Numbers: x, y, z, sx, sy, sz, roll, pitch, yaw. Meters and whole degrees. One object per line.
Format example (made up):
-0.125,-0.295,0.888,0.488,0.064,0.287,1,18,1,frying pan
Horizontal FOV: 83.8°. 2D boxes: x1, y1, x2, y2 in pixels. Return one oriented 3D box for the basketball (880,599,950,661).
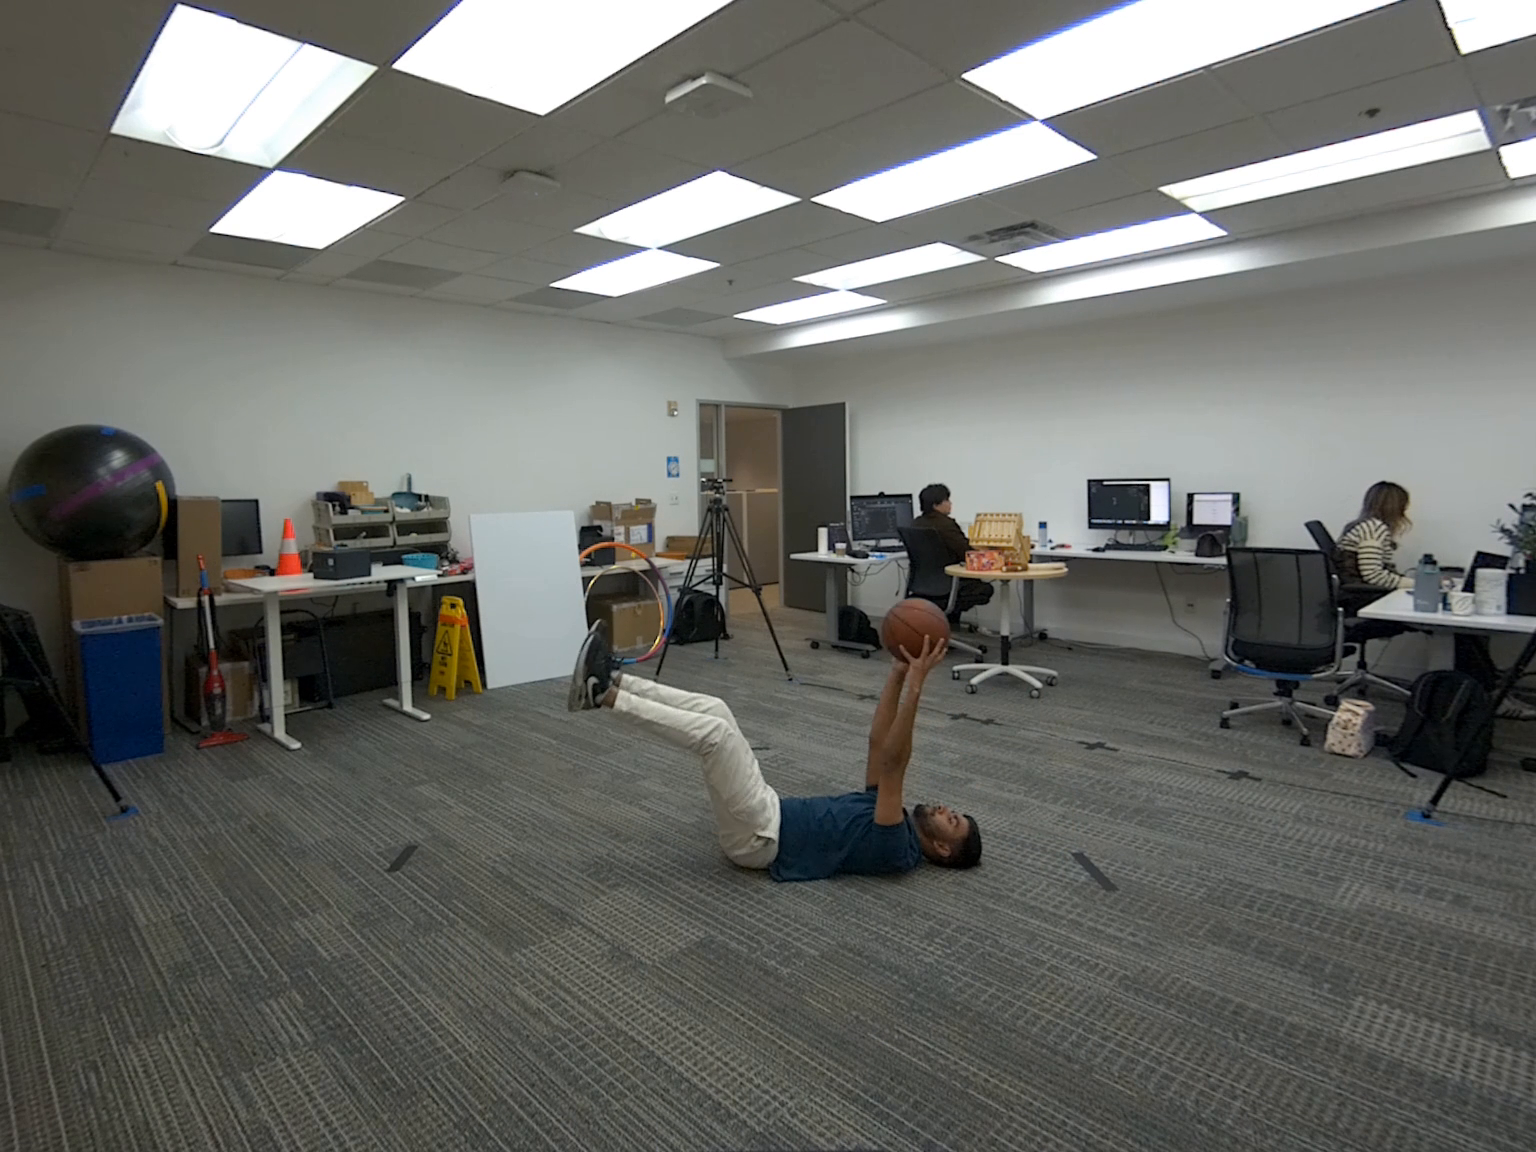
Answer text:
0.535,0.205,3.072,0.236,0.235,0.237,-1,5,-2,basketball
